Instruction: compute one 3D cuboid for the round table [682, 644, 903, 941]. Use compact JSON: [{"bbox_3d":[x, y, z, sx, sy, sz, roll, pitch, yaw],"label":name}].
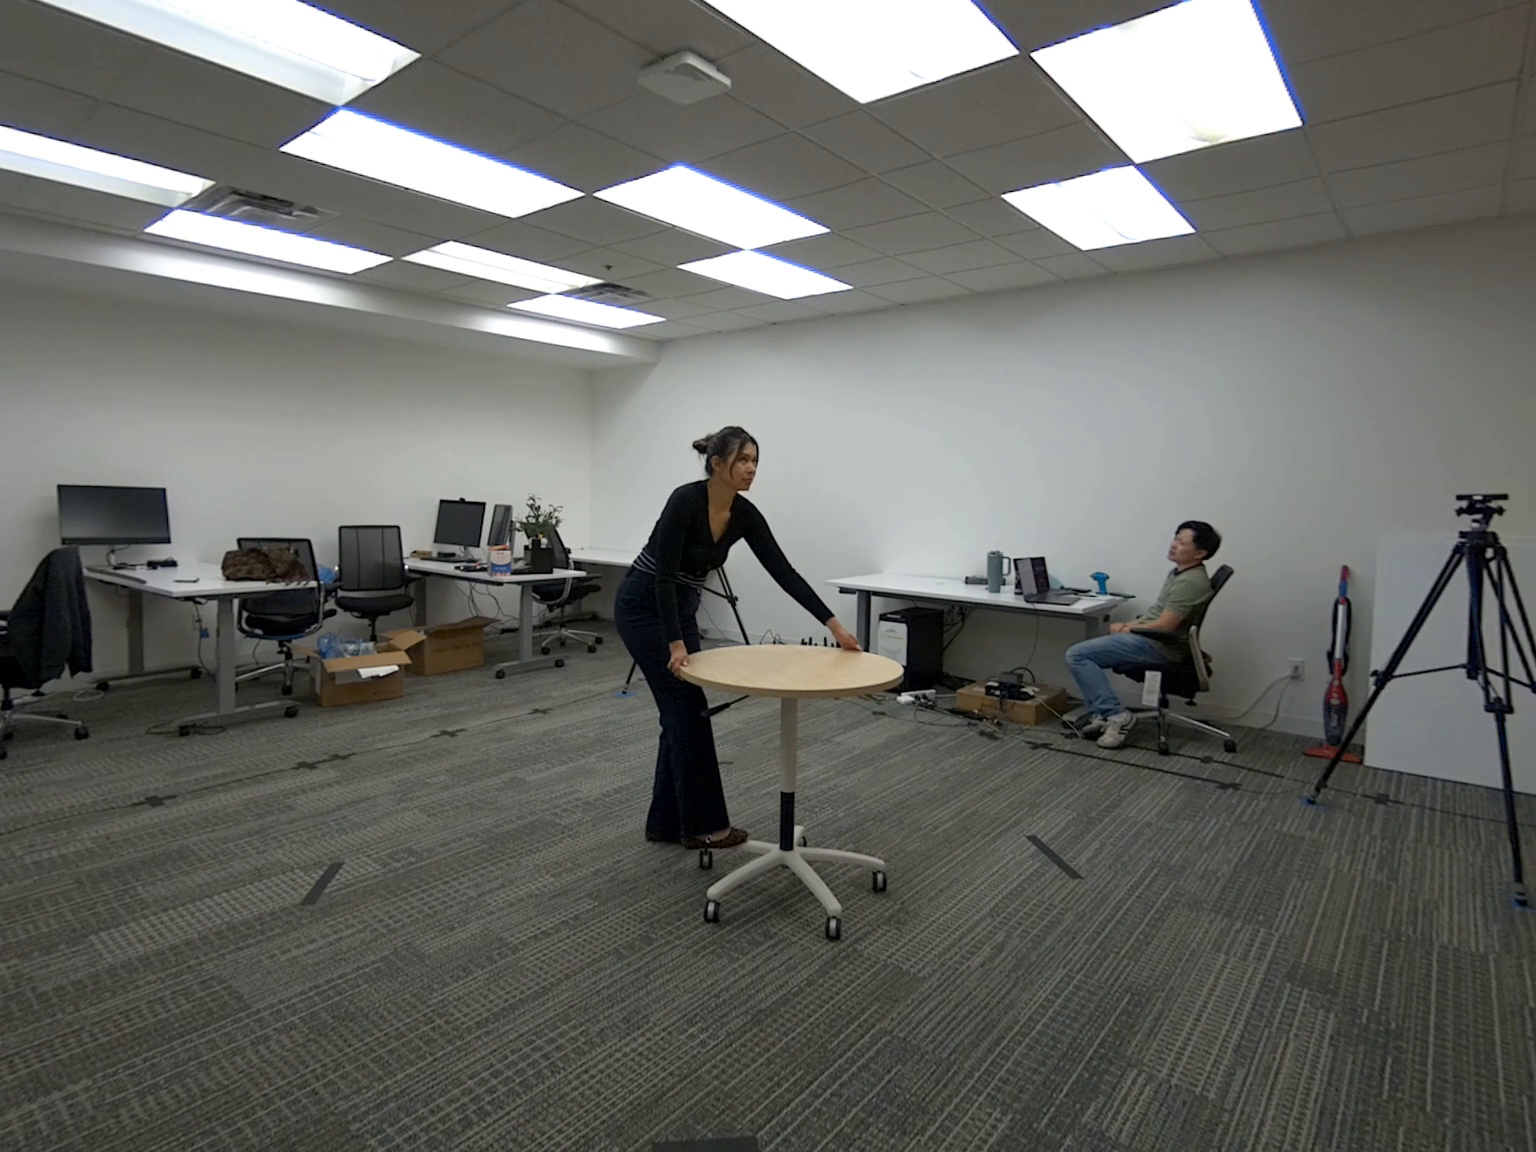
[{"bbox_3d":[0.059,0.696,2.944,0.763,0.791,0.768,1,4,-2],"label":"round table"}]
